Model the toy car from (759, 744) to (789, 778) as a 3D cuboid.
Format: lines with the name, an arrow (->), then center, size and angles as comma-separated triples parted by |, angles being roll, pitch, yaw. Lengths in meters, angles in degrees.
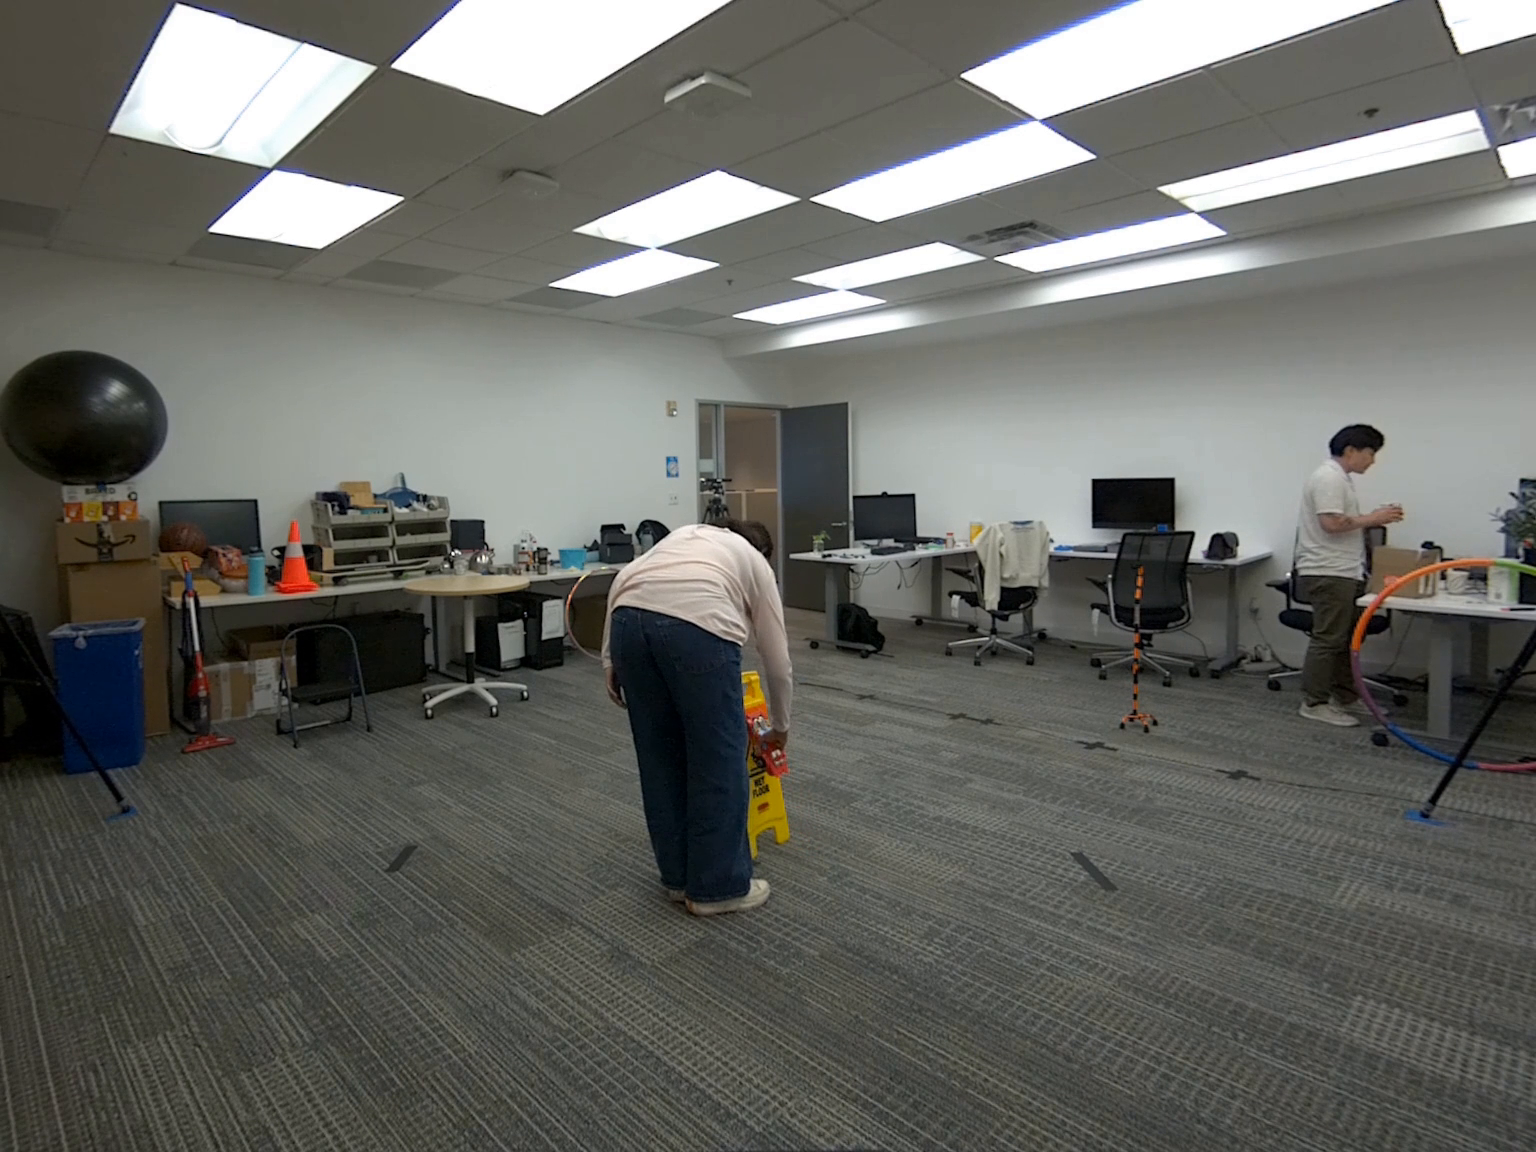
toy car -> -0.020, 0.637, 3.187 | 0.127, 0.260, 0.083 | -10, -29, -51
